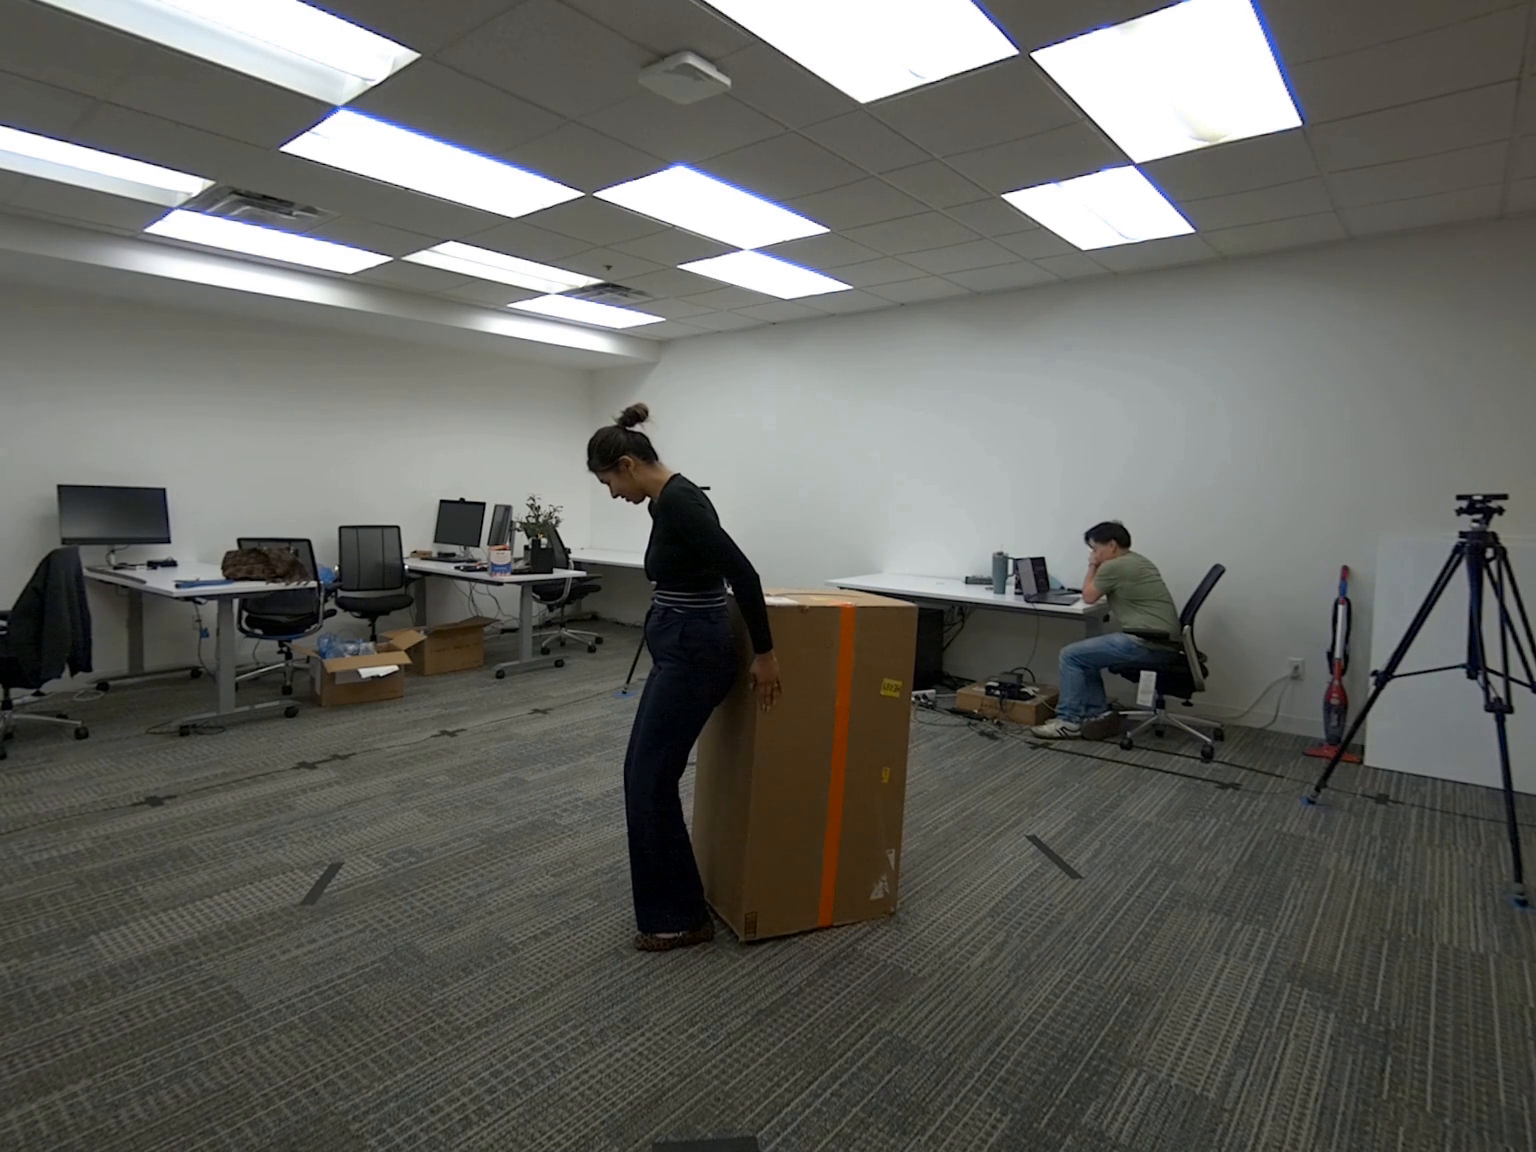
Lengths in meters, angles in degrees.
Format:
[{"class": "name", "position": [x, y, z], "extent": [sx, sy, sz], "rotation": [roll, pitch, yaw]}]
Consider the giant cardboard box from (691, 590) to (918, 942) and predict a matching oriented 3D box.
[{"class": "giant cardboard box", "position": [0.105, 0.578, 2.855], "extent": [0.562, 1.023, 0.438], "rotation": [2, 3, -27]}]
